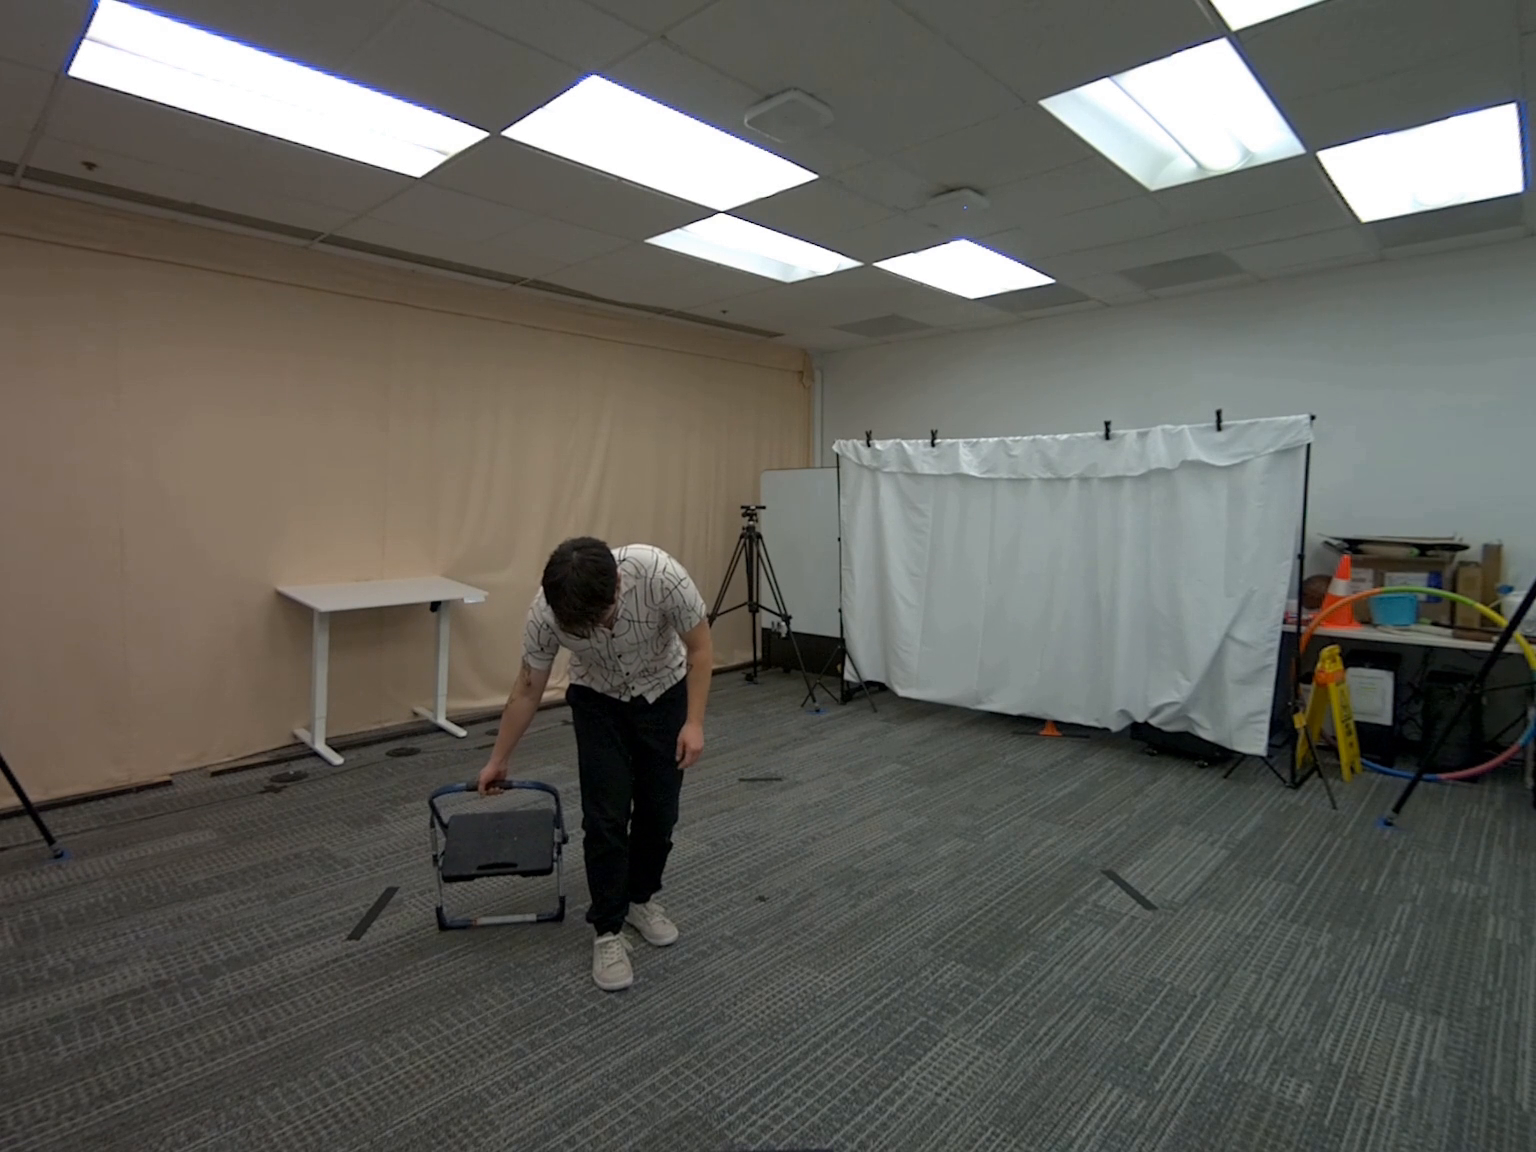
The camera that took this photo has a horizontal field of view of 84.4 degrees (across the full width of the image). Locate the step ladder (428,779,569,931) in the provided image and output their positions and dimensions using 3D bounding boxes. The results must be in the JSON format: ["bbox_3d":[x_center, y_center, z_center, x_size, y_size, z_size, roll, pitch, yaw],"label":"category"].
[{"bbox_3d":[-0.891,0.829,2.774,0.426,0.597,0.358,-1,36,-11],"label":"step ladder"}]
